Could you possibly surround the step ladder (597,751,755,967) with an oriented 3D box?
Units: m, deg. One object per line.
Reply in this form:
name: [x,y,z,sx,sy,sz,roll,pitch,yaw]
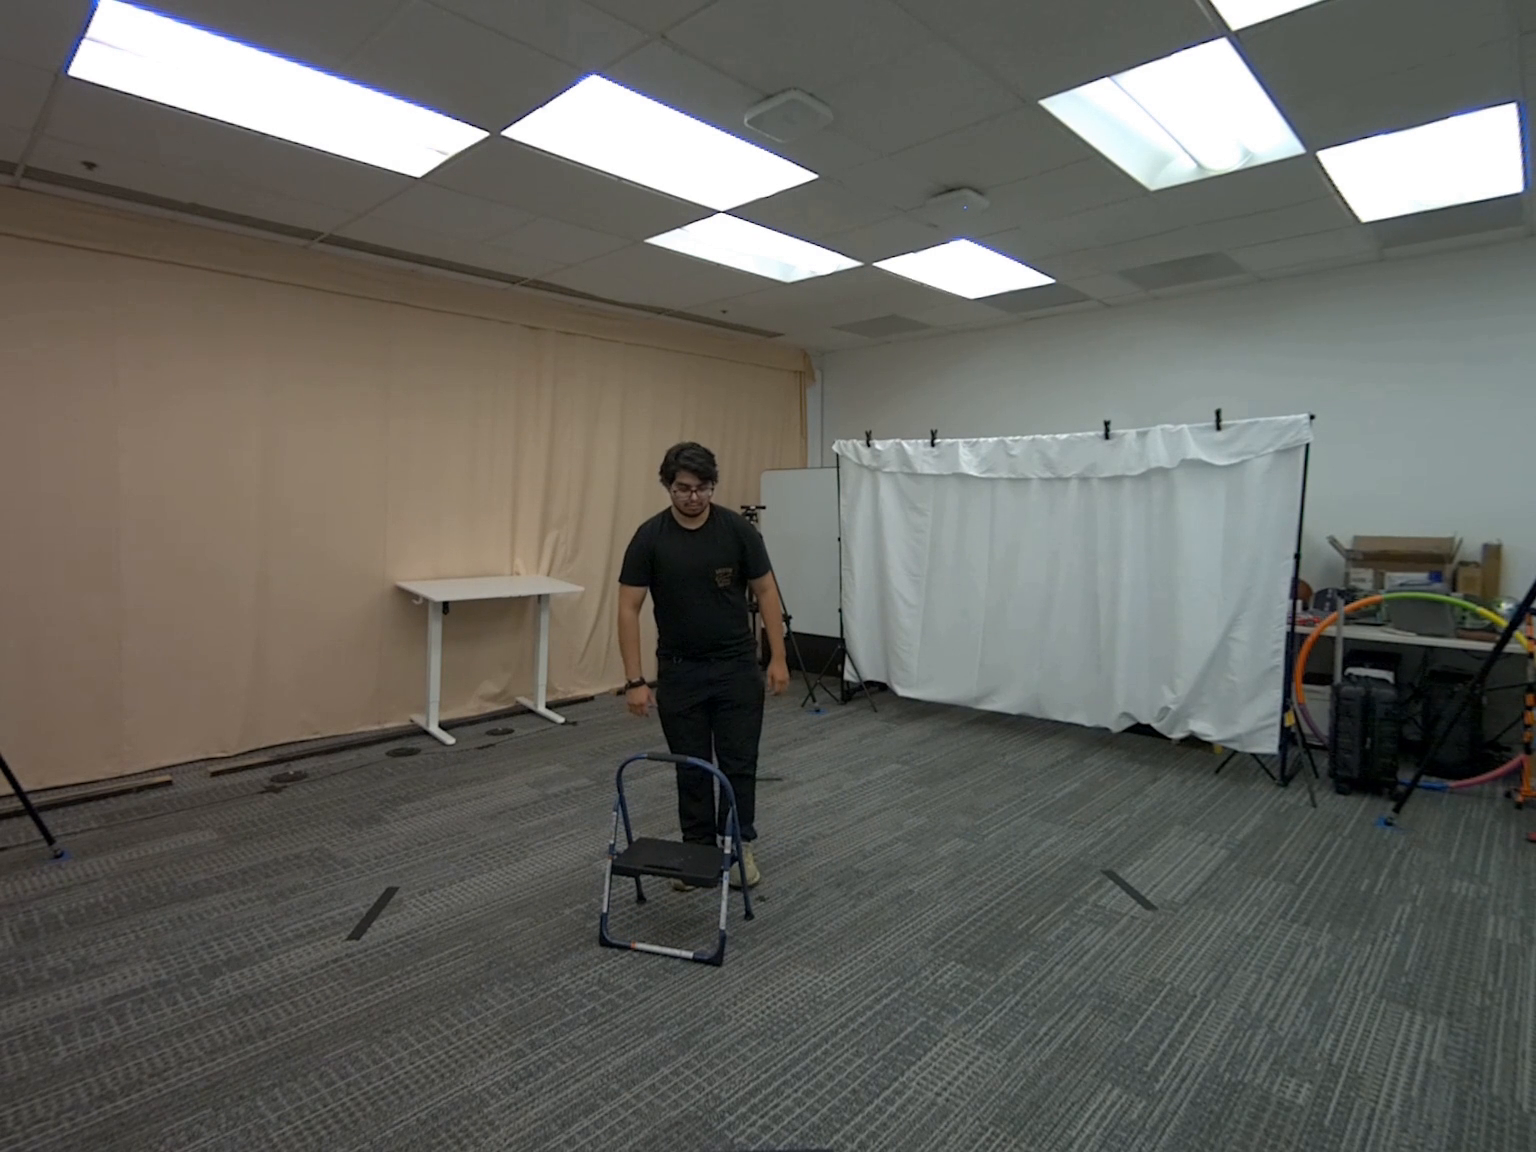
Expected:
step ladder: [-0.299,0.860,2.748,0.439,0.605,0.343,0,3,17]
